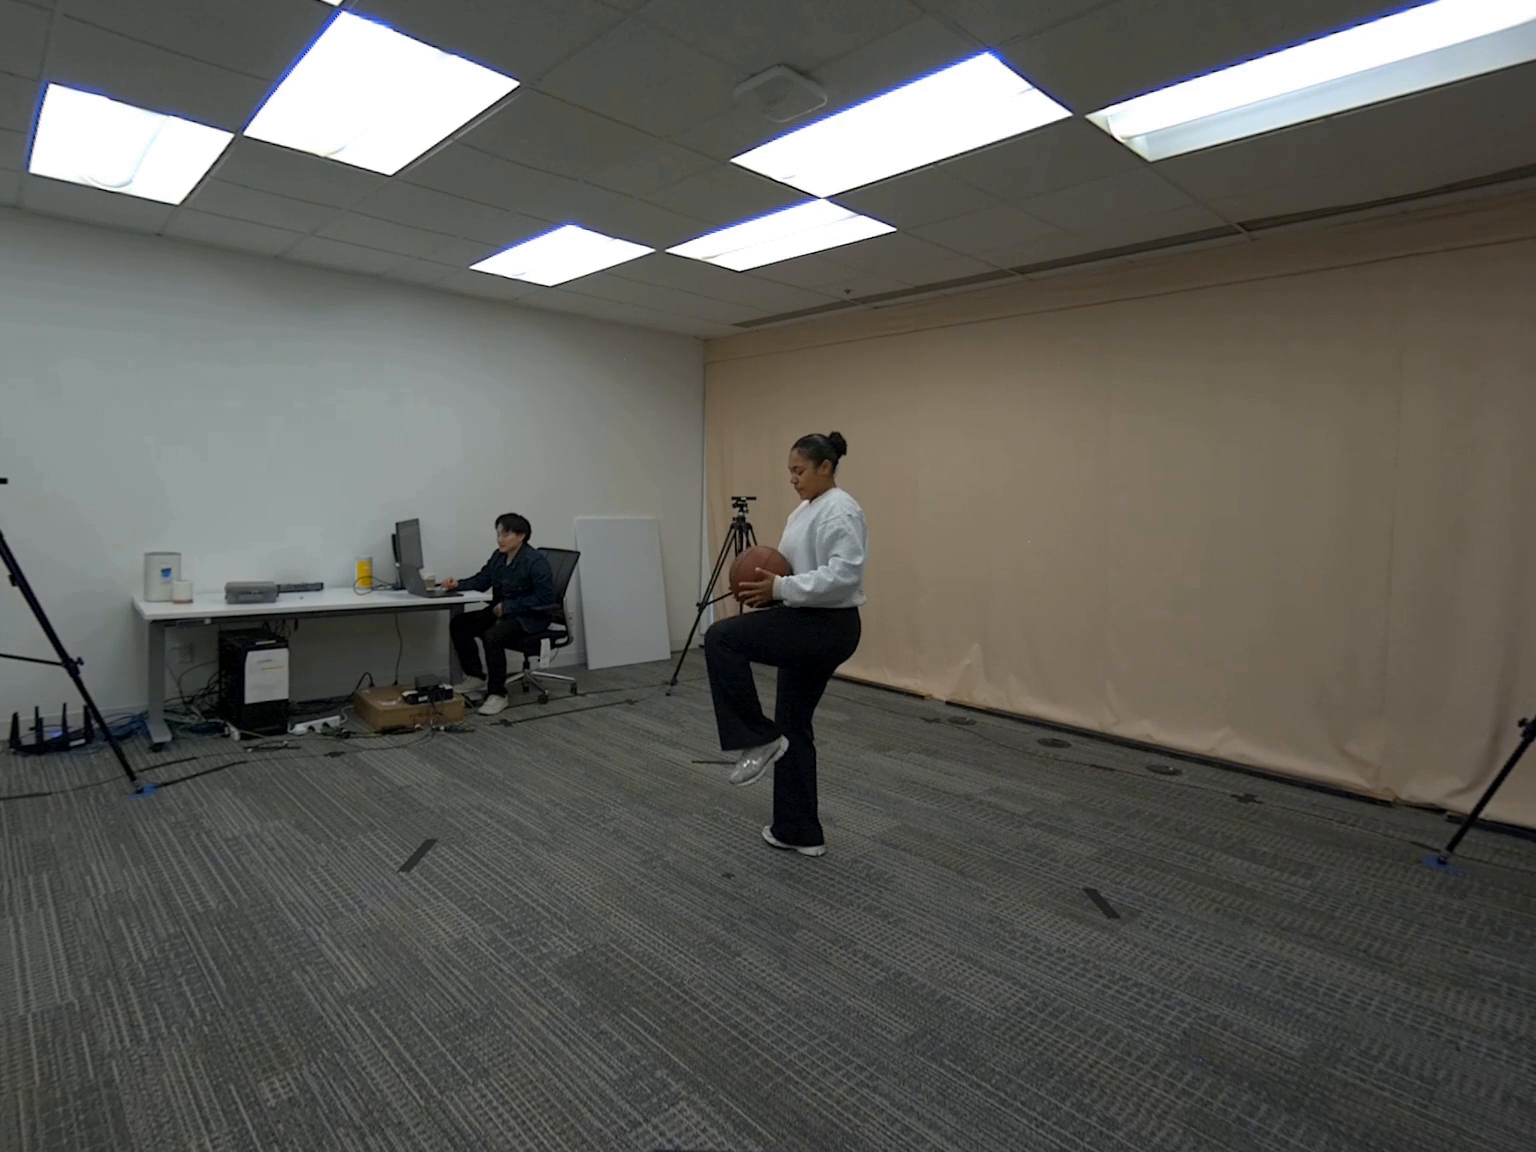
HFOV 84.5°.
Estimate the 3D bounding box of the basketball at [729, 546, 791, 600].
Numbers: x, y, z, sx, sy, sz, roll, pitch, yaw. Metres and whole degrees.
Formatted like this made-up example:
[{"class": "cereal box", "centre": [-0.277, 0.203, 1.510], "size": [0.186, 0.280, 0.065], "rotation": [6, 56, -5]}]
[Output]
[{"class": "basketball", "centre": [-0.043, -0.013, 3.179], "size": [0.236, 0.235, 0.237], "rotation": [1, 4, -1]}]
